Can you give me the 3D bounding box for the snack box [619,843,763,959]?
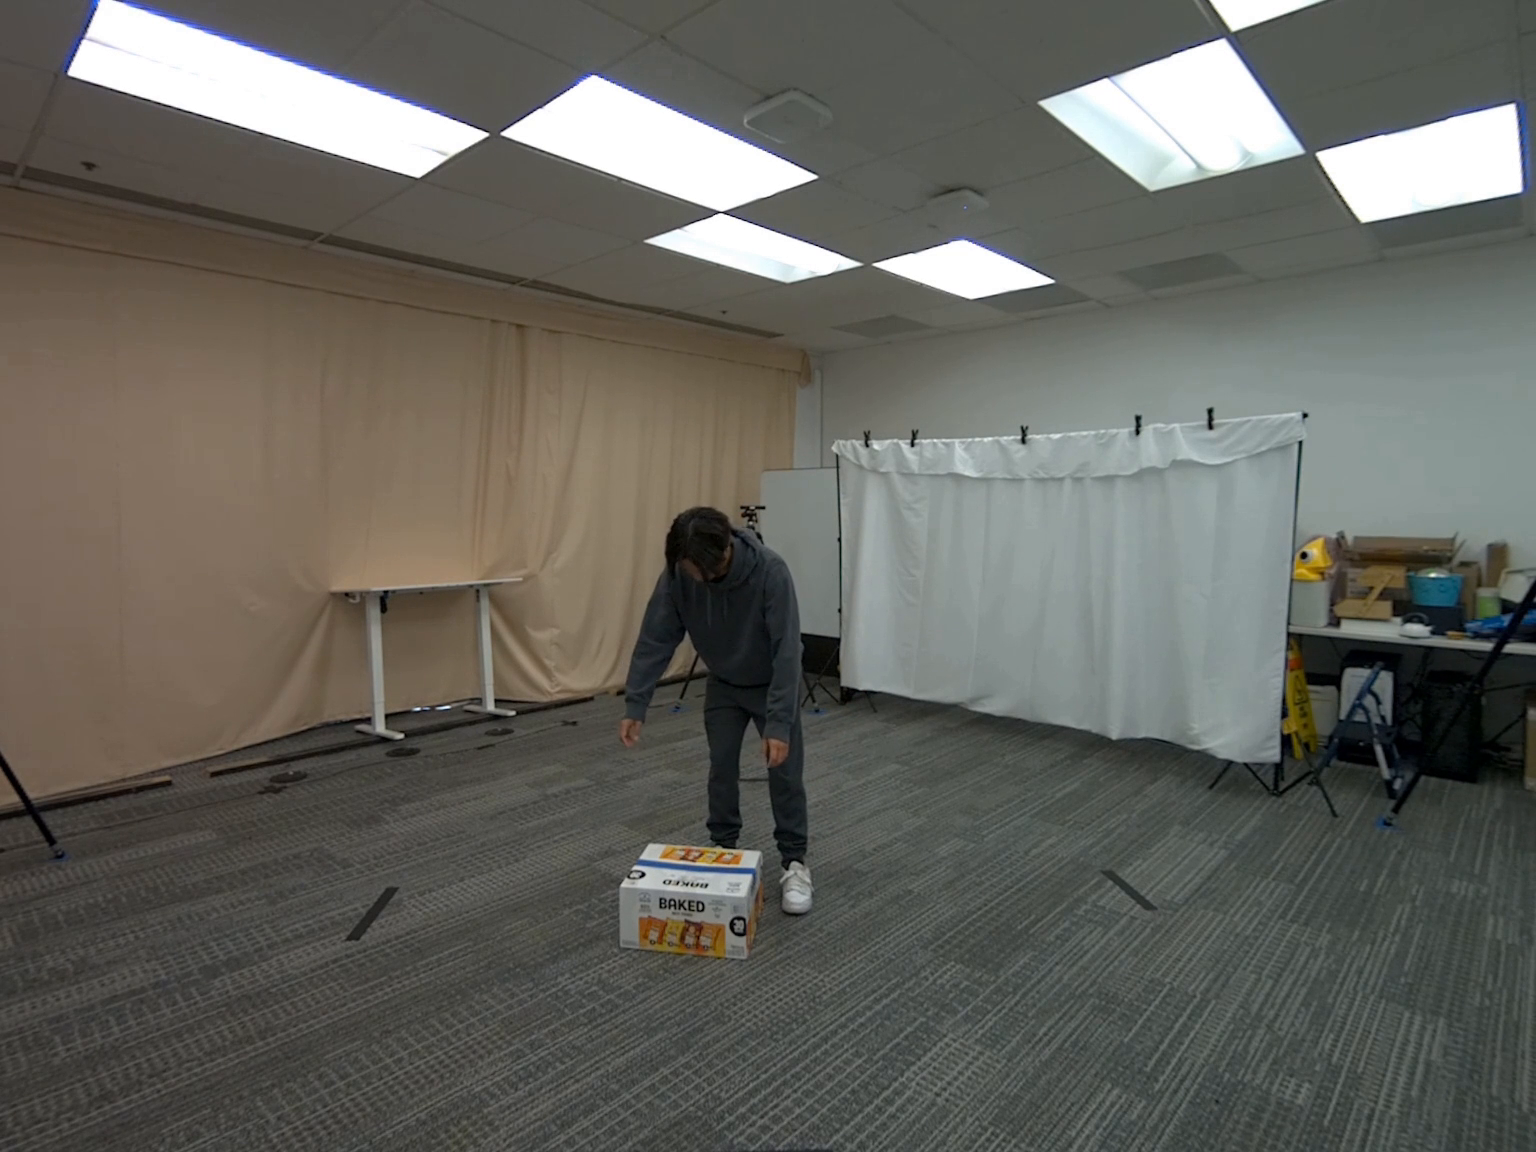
[{"bbox_3d":[-0.241,1.062,2.769,0.410,0.205,0.337,0,4,10],"label":"snack box"}]
